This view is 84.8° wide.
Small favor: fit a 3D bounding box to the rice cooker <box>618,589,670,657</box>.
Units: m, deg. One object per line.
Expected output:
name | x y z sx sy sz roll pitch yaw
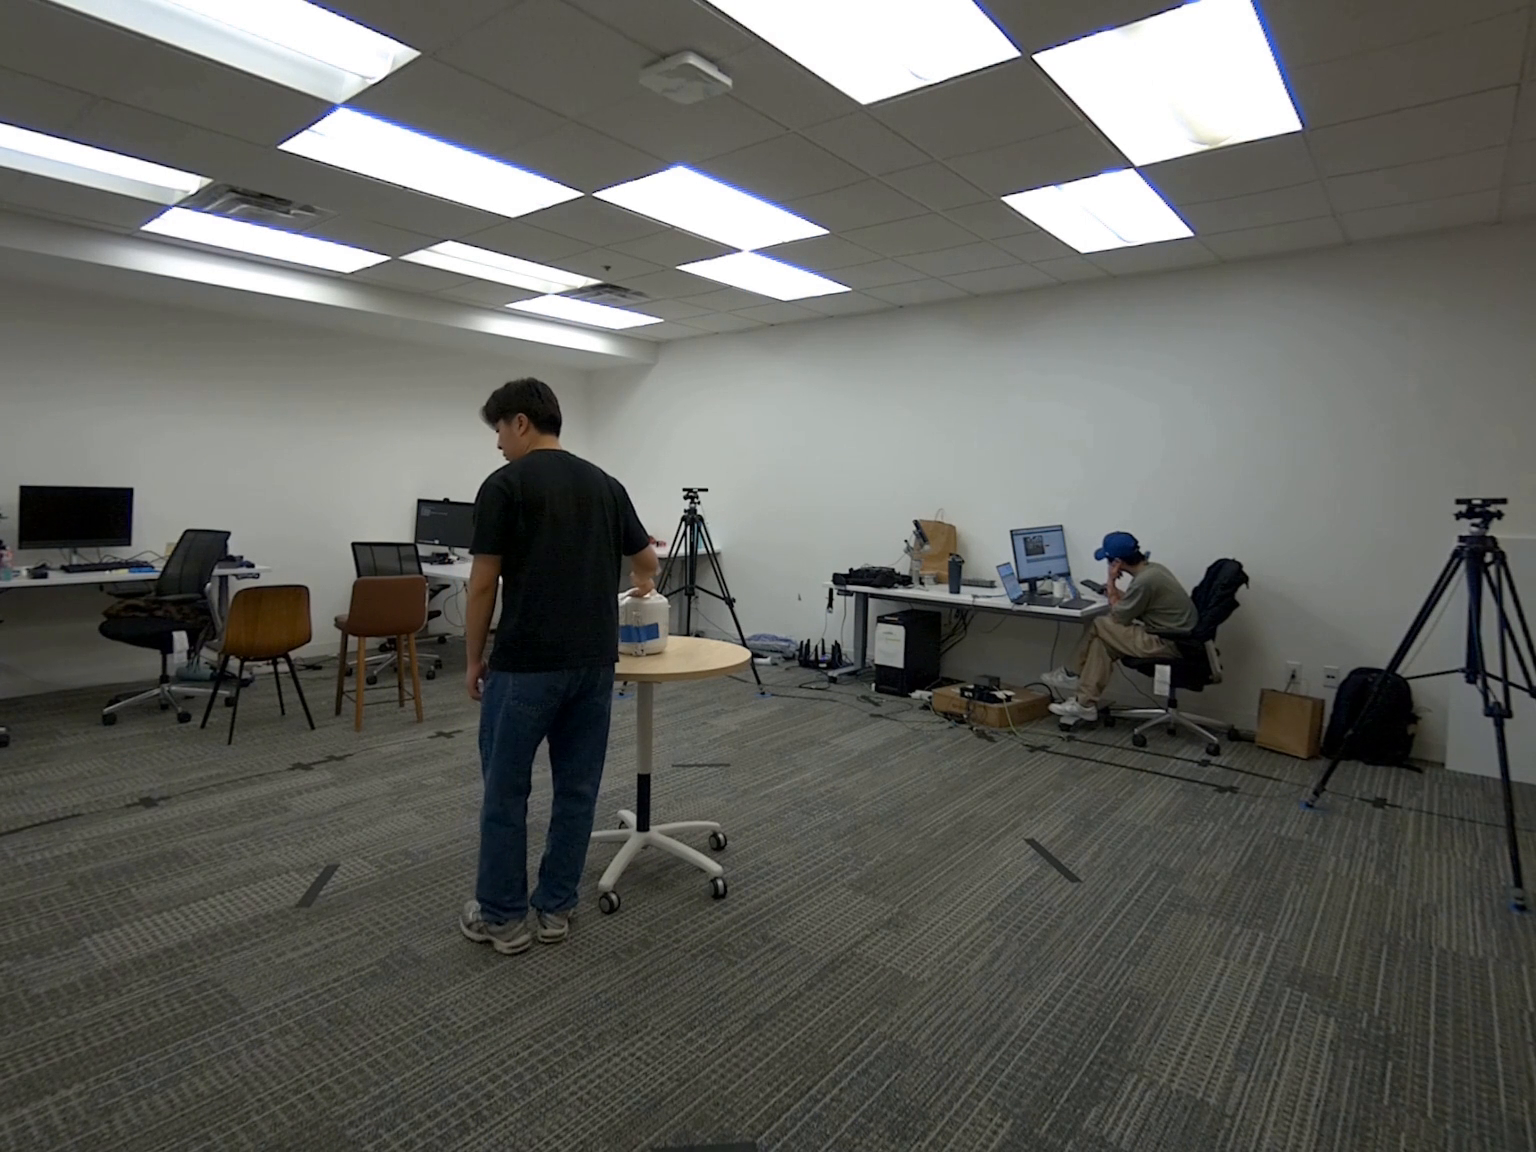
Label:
rice cooker | -0.476 0.155 3.086 0.225 0.232 0.214 6 5 41
